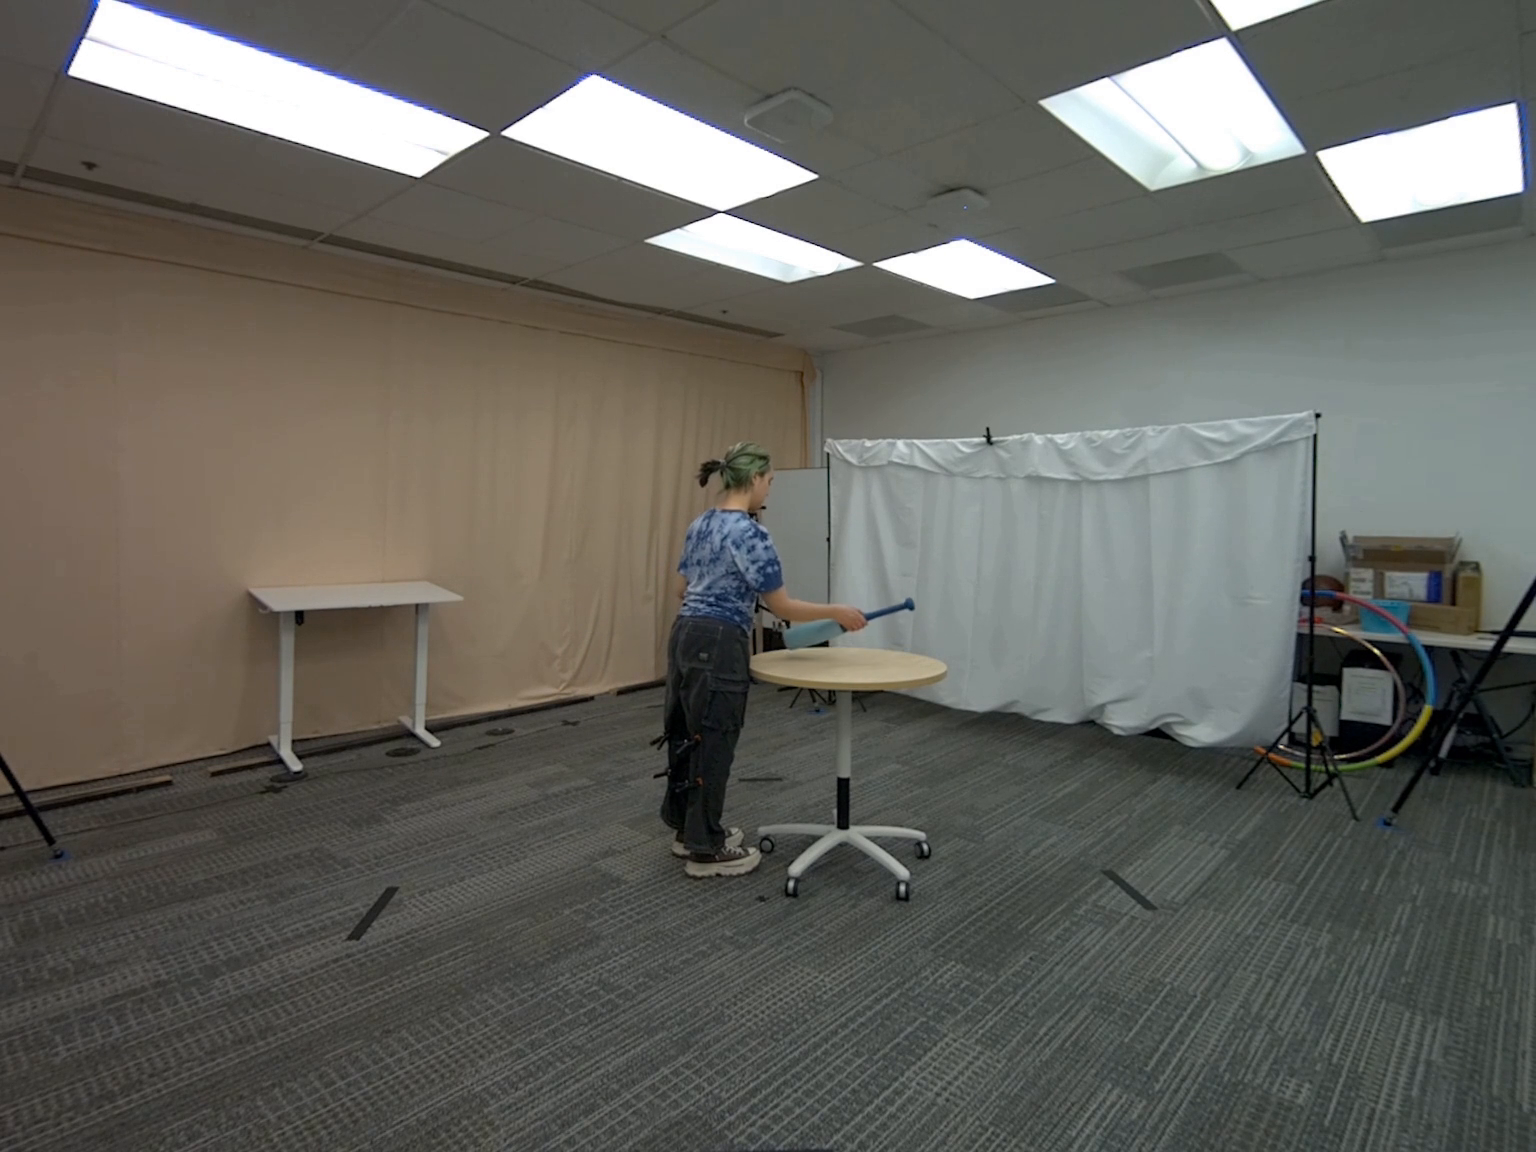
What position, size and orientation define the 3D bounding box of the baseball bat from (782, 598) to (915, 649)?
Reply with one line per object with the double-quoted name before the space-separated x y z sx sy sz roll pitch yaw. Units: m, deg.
"baseball bat" 0.308 0.188 3.281 0.553 0.089 0.087 -19 -4 25
